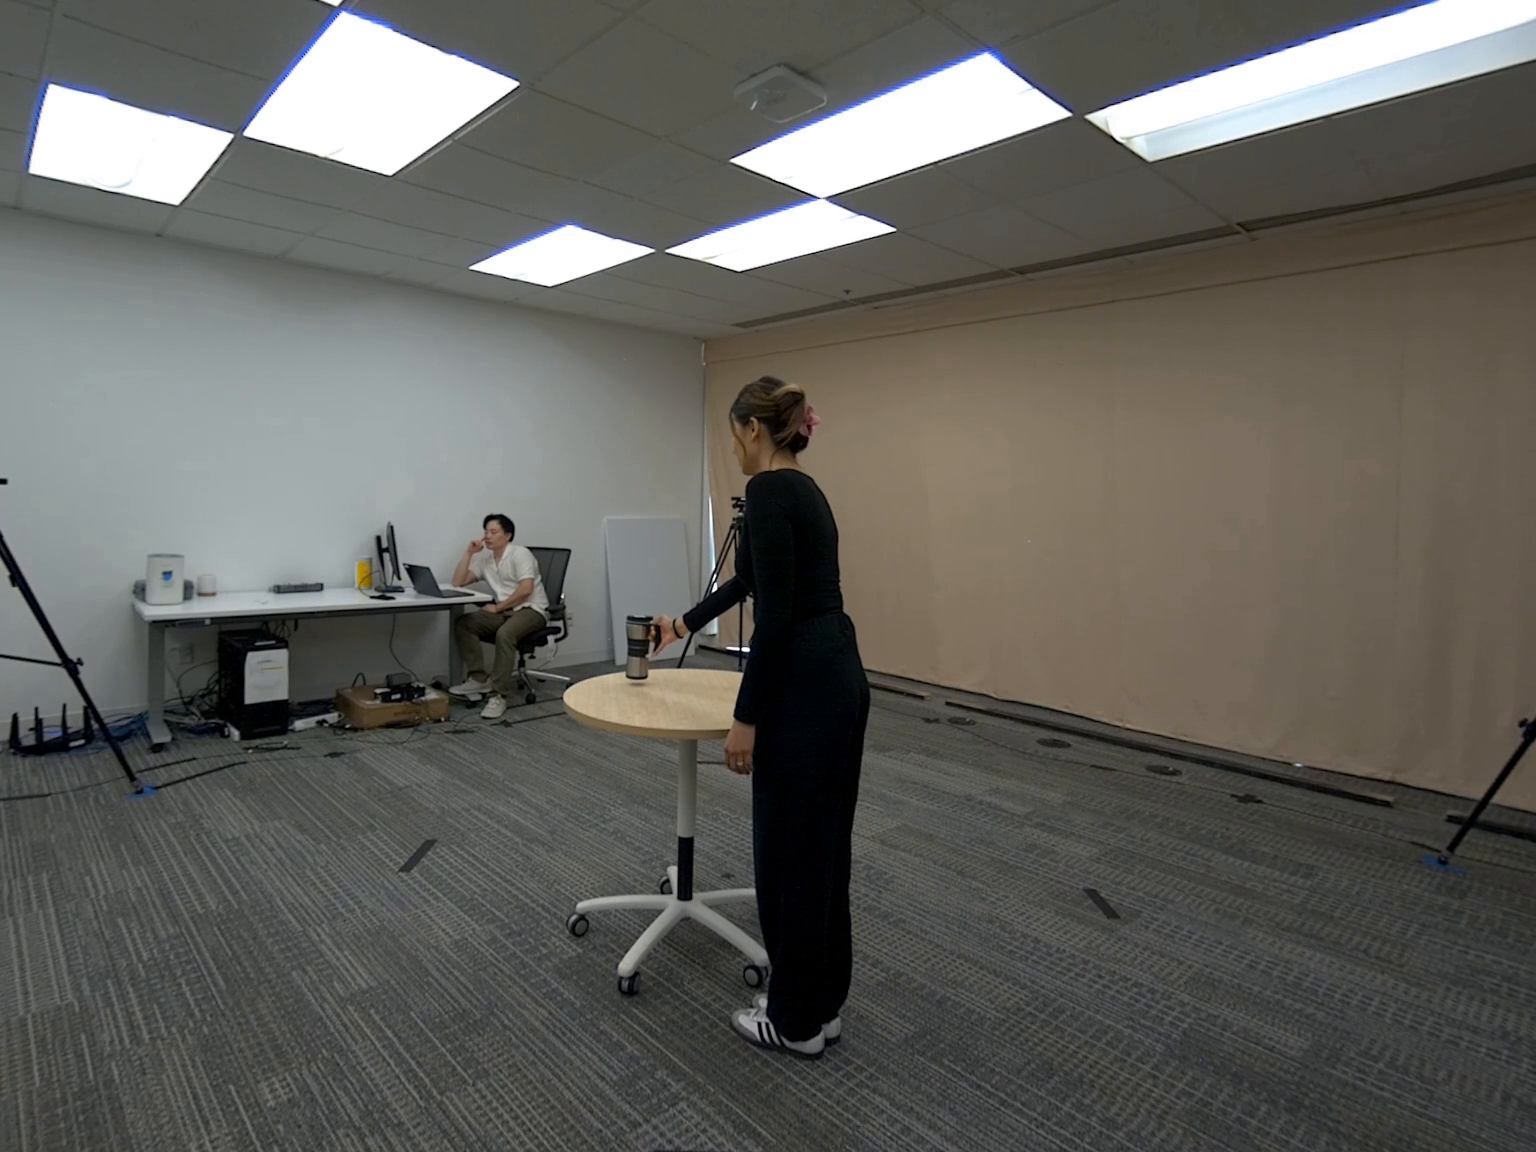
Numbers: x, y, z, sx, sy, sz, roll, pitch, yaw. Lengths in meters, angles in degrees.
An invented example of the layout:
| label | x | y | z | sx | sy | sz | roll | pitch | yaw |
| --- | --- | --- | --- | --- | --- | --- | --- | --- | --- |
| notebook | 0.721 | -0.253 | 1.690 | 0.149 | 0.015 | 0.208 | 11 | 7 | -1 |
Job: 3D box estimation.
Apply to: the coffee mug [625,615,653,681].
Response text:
| label | x | y | z | sx | sy | sz | roll | pitch | yaw |
| --- | --- | --- | --- | --- | --- | --- | --- | --- | --- |
| coffee mug | -0.405 | 0.231 | 2.685 | 0.086 | 0.203 | 0.124 | 8 | -2 | -29 |
